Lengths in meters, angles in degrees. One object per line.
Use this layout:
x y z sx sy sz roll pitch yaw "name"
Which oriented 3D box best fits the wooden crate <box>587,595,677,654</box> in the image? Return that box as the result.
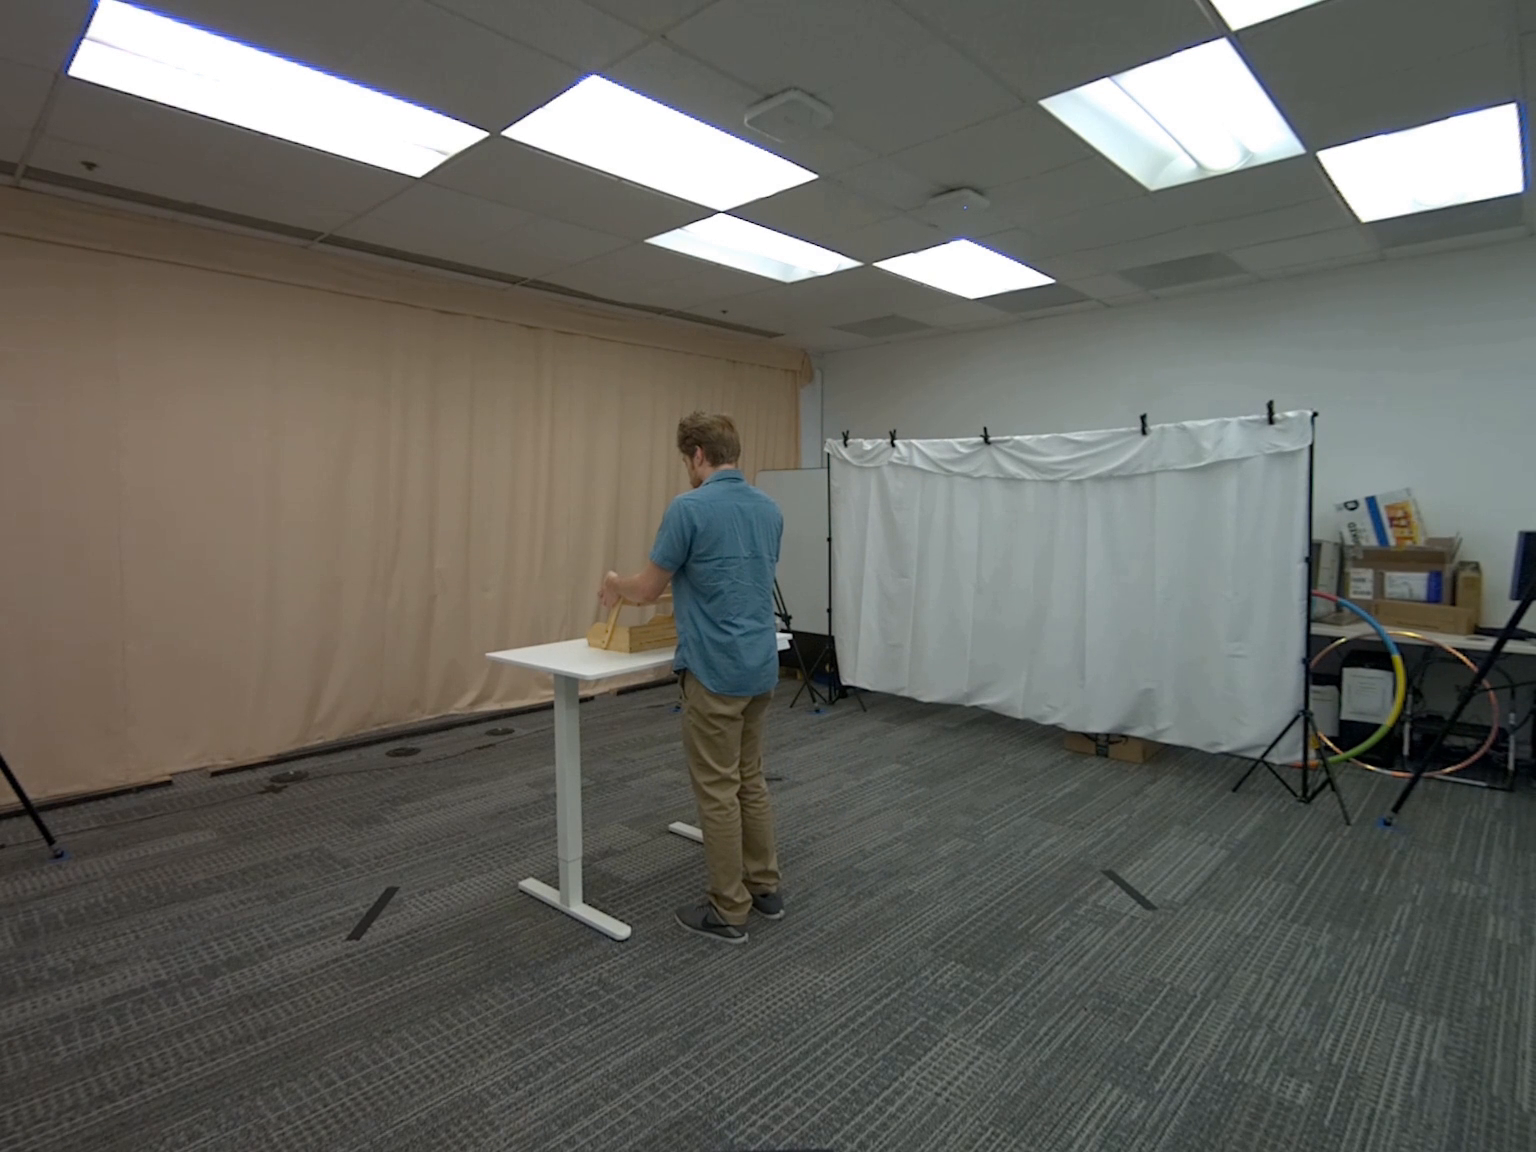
-0.464 0.124 3.102 0.312 0.272 0.314 4 6 43 "wooden crate"
